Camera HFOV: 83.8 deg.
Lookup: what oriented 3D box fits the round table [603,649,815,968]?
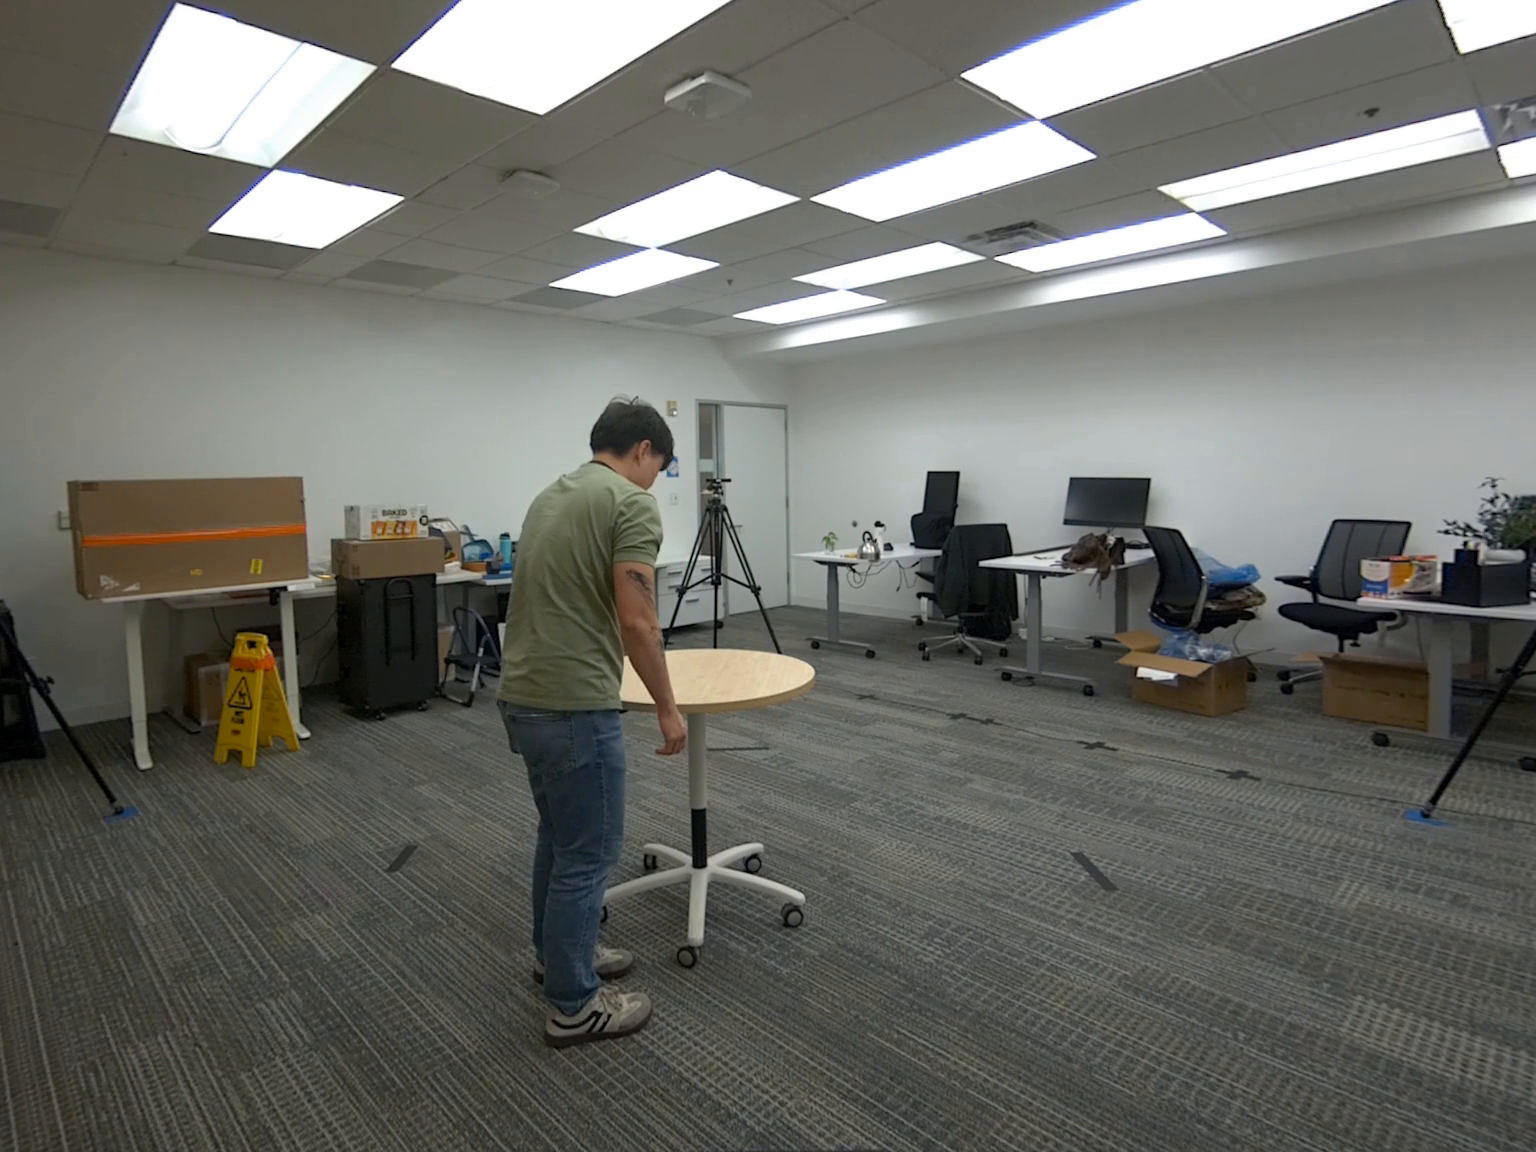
[{"bbox_3d":[-0.223,0.699,2.771,0.763,0.790,0.768,-1,5,-2],"label":"round table"}]
